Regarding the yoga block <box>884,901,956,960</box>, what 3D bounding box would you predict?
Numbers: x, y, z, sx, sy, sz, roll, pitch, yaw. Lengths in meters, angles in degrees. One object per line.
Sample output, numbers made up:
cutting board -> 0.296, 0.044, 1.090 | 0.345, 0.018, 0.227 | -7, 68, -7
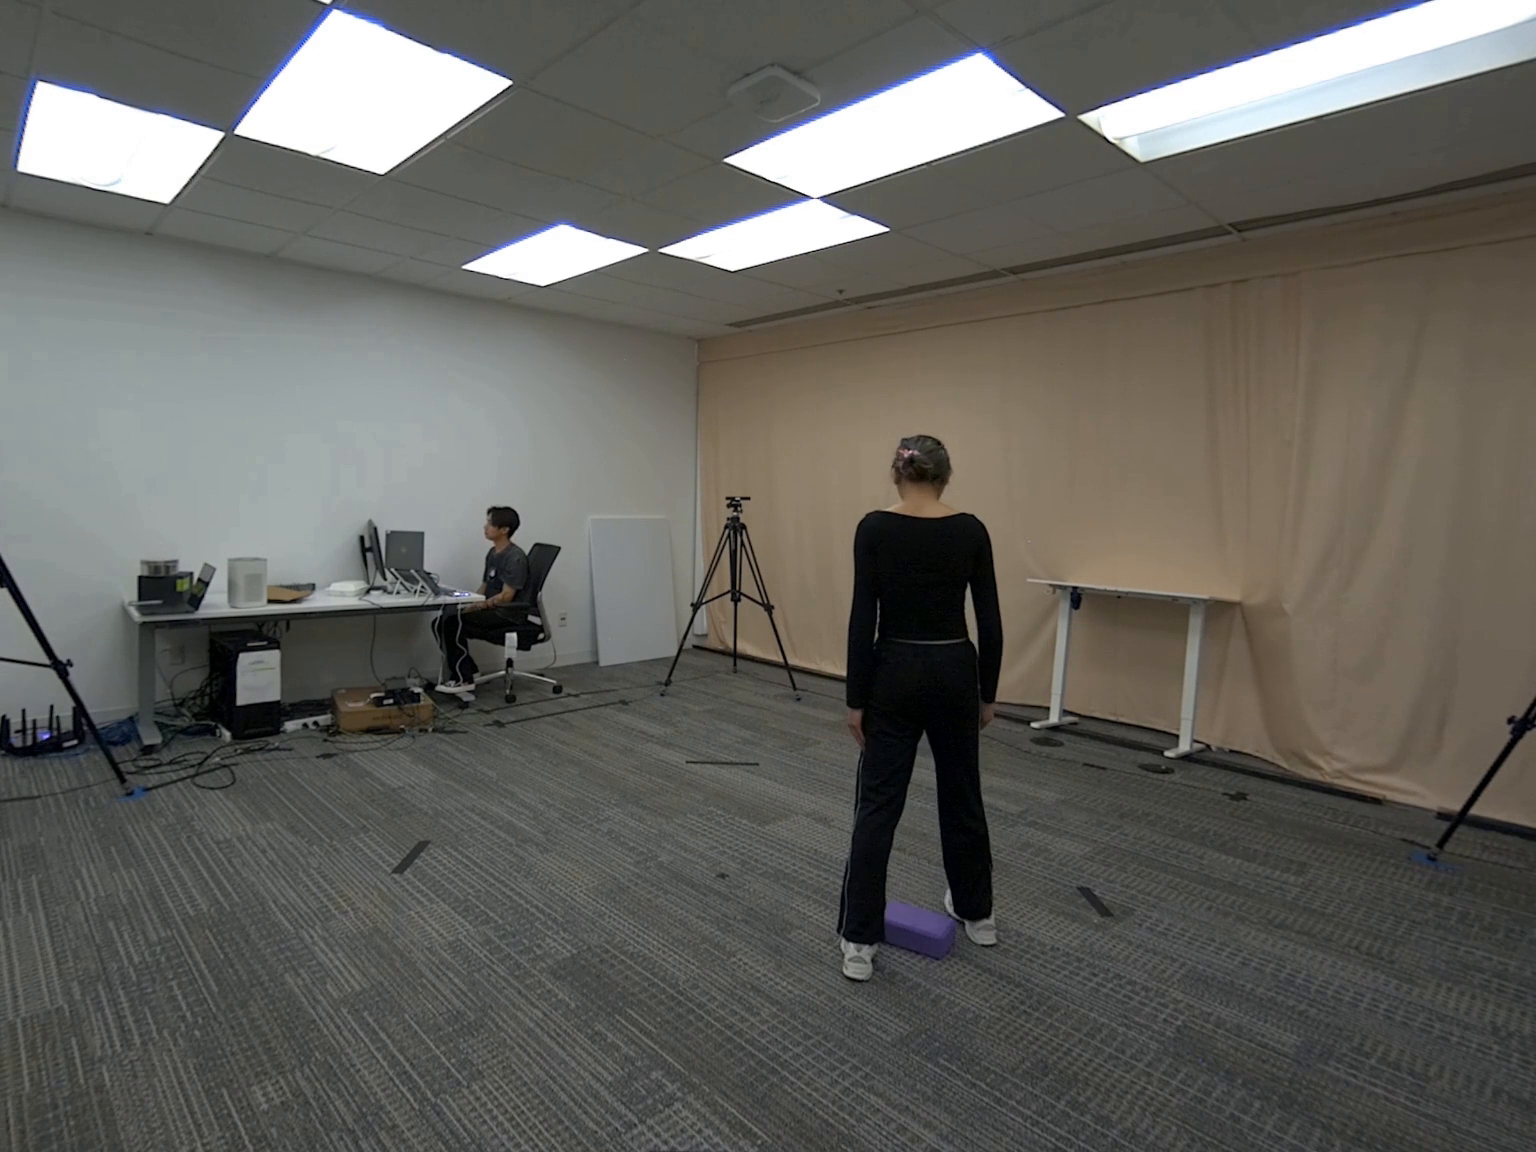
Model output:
yoga block -> 0.457, 1.117, 2.677 | 0.234, 0.076, 0.146 | 4, 6, 31
